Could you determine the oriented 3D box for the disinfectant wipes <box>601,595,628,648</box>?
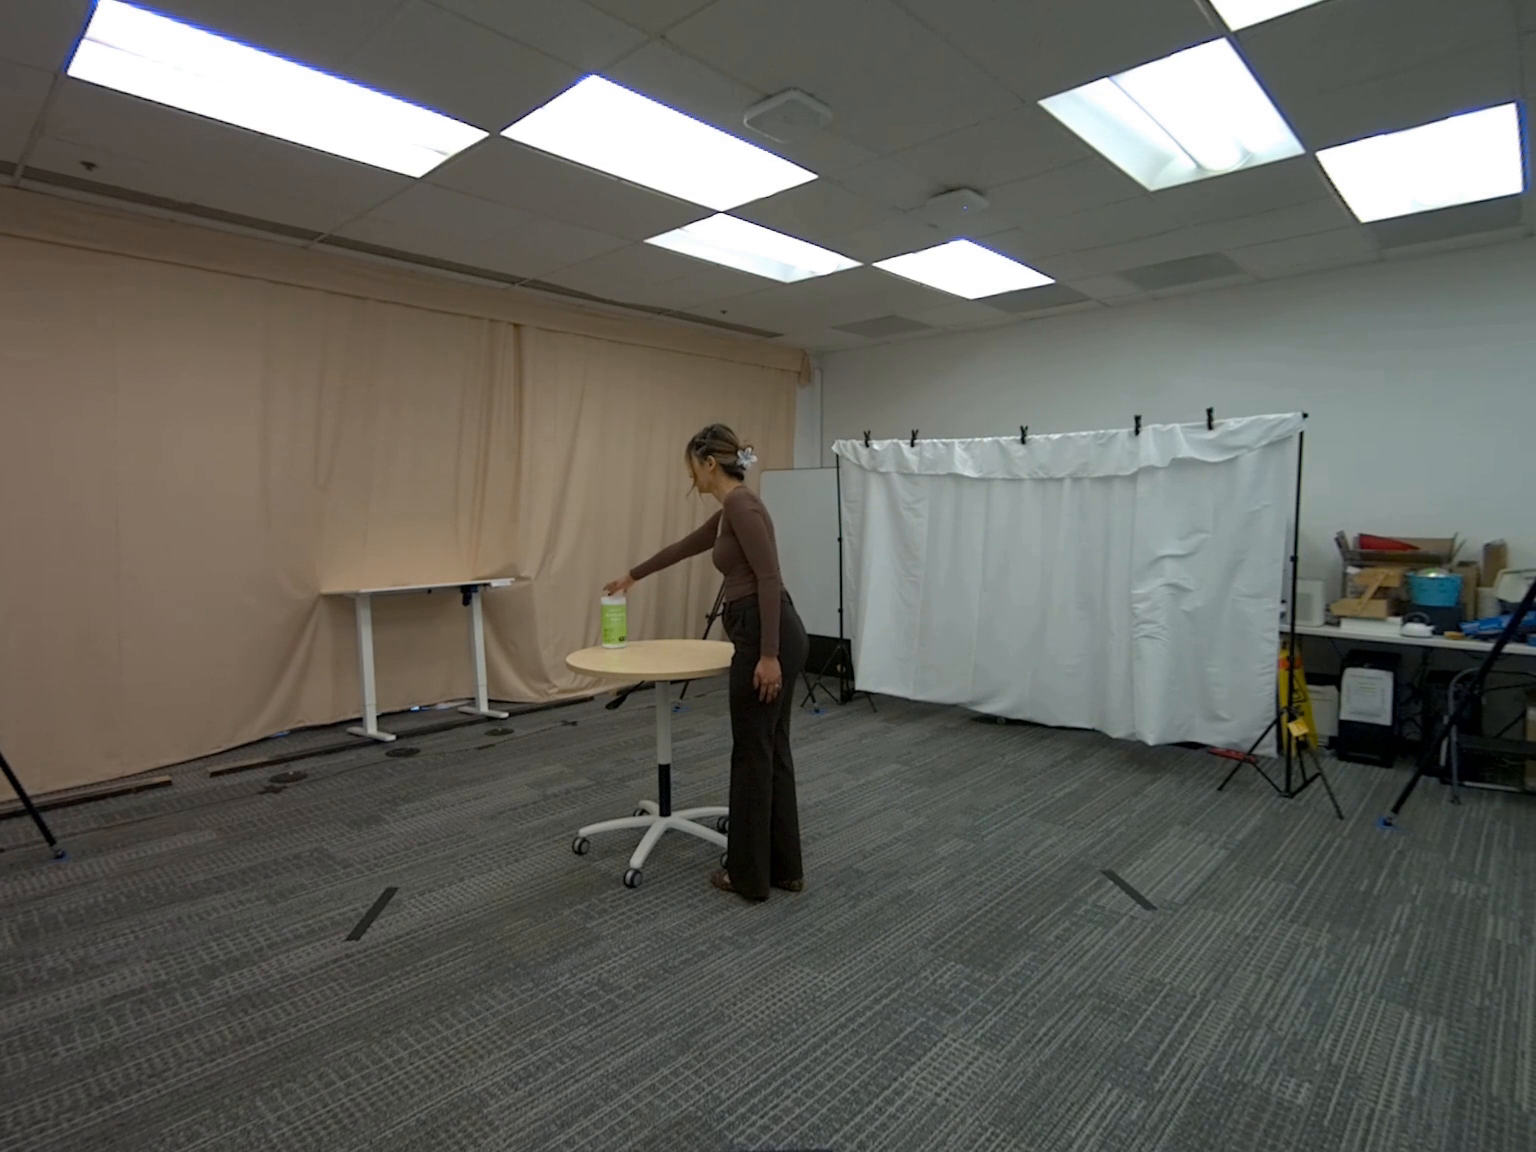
[{"bbox_3d":[-0.664,0.198,3.604,0.118,0.217,0.118,0,3,-2],"label":"disinfectant wipes"}]
